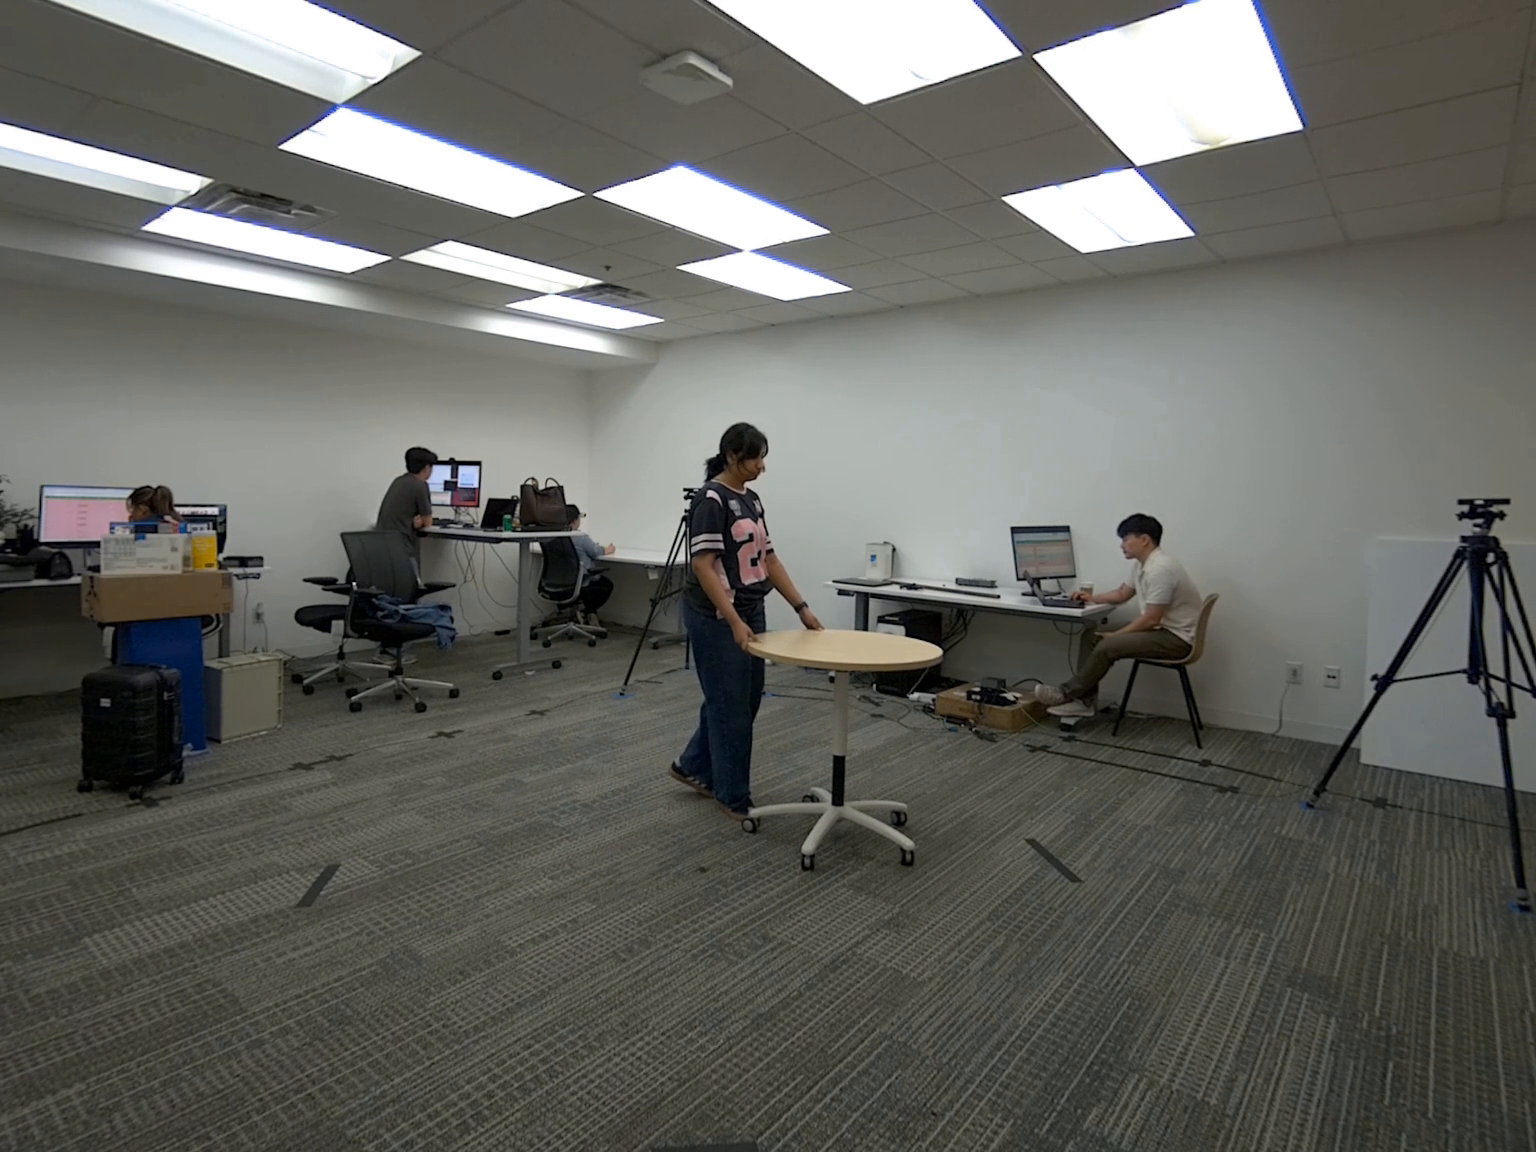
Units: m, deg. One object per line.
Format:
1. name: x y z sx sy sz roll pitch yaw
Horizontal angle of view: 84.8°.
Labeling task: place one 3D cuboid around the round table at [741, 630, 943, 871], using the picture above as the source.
1. round table: 0.273 0.661 3.389 0.763 0.791 0.768 2 4 -2
